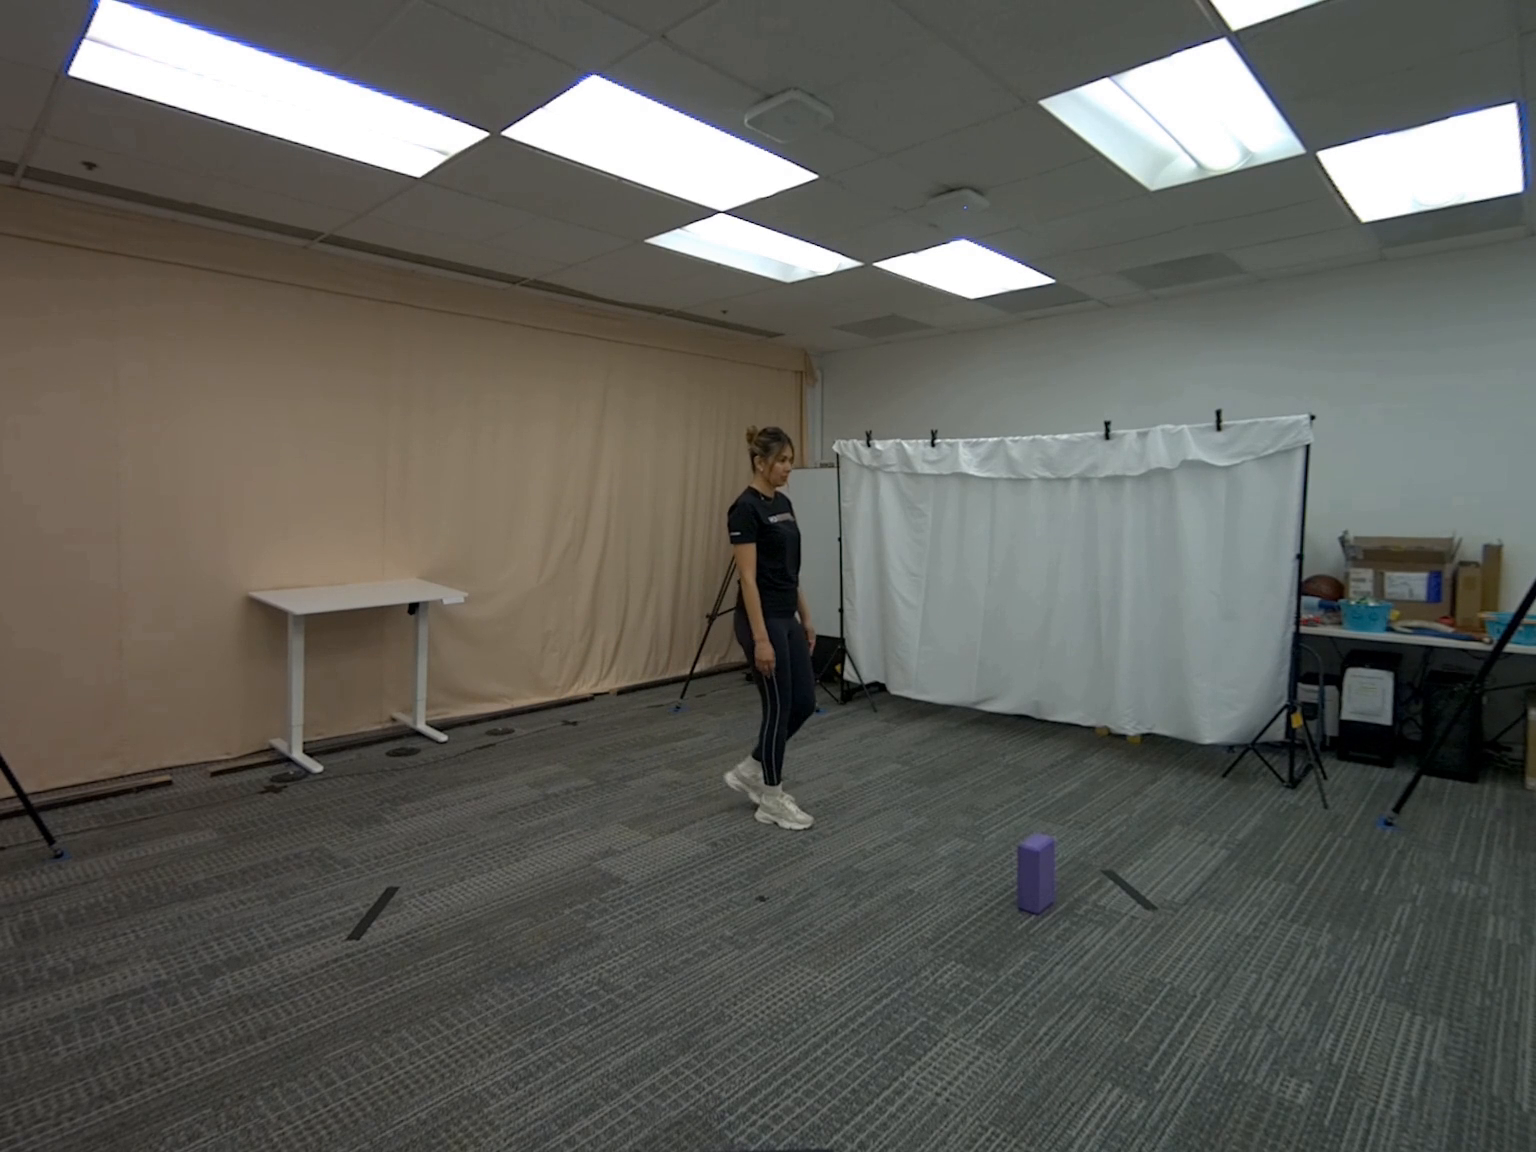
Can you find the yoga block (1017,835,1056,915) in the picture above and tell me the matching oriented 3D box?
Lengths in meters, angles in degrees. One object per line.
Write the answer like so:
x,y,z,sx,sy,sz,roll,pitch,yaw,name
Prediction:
0.939,1.031,2.920,0.079,0.229,0.144,1,4,39,yoga block
